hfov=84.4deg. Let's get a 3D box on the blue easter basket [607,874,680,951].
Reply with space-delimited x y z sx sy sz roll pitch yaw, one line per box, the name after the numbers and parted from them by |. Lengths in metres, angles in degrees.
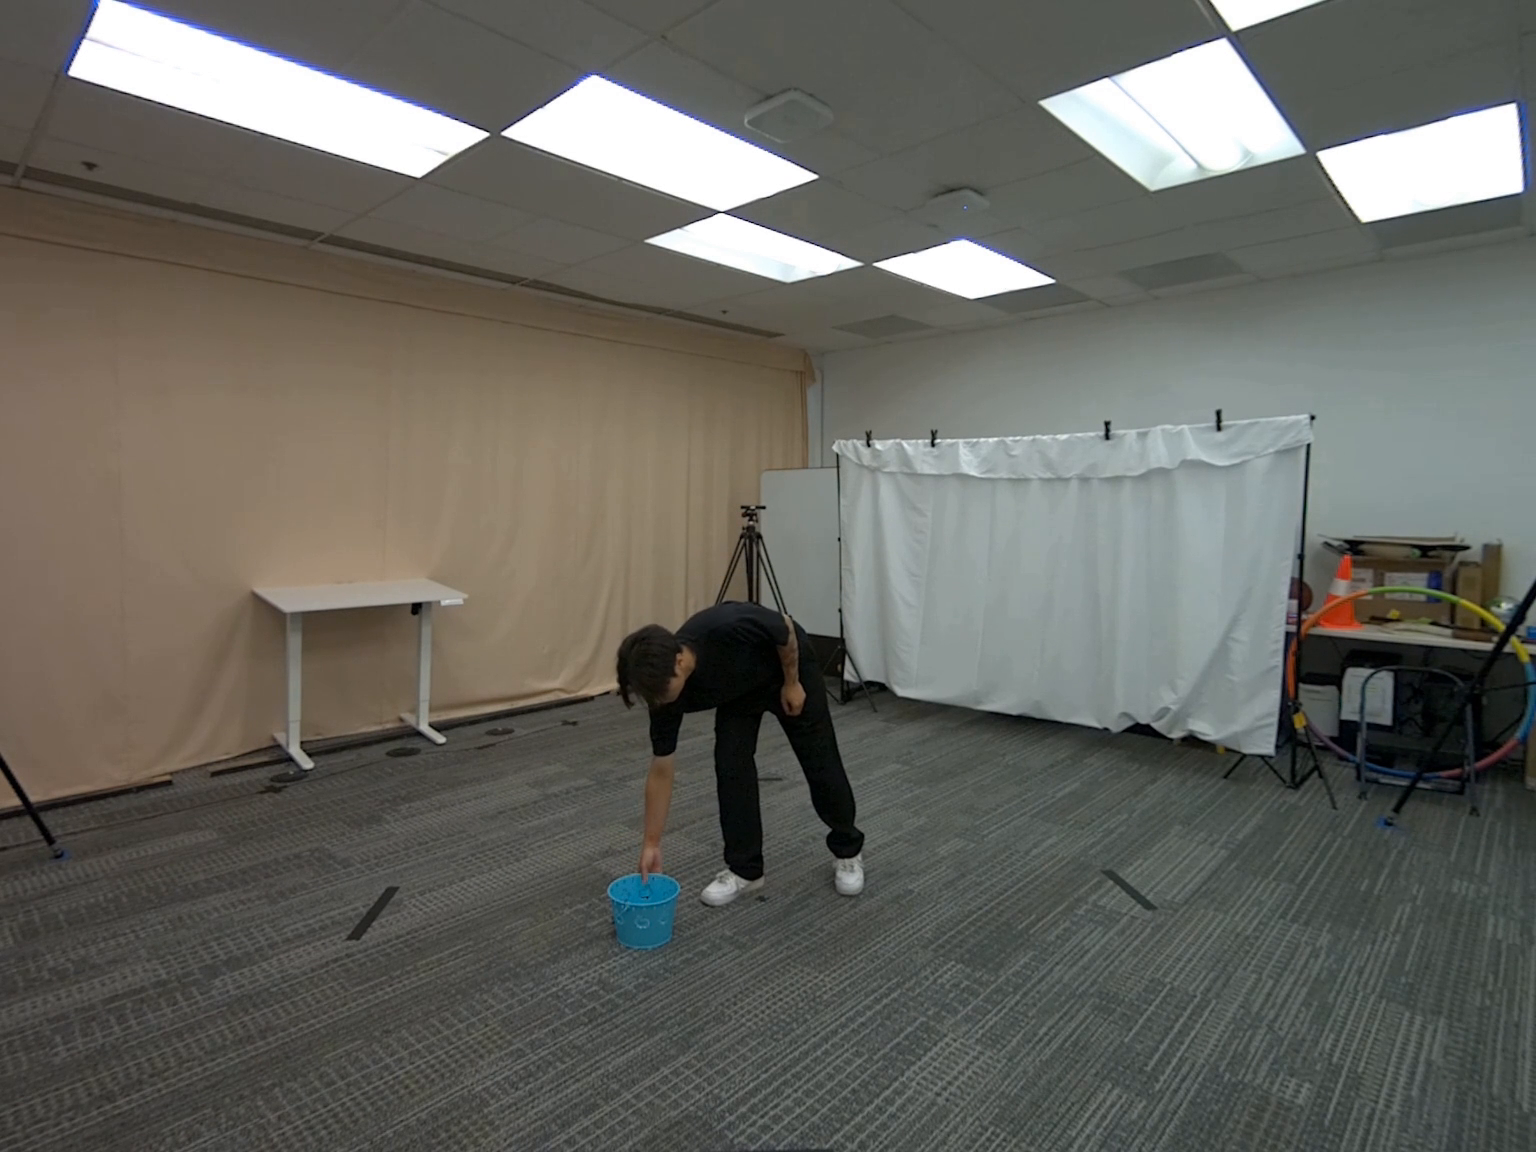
-0.404 1.090 2.739 0.243 0.155 0.244 0 4 -2 | blue easter basket
